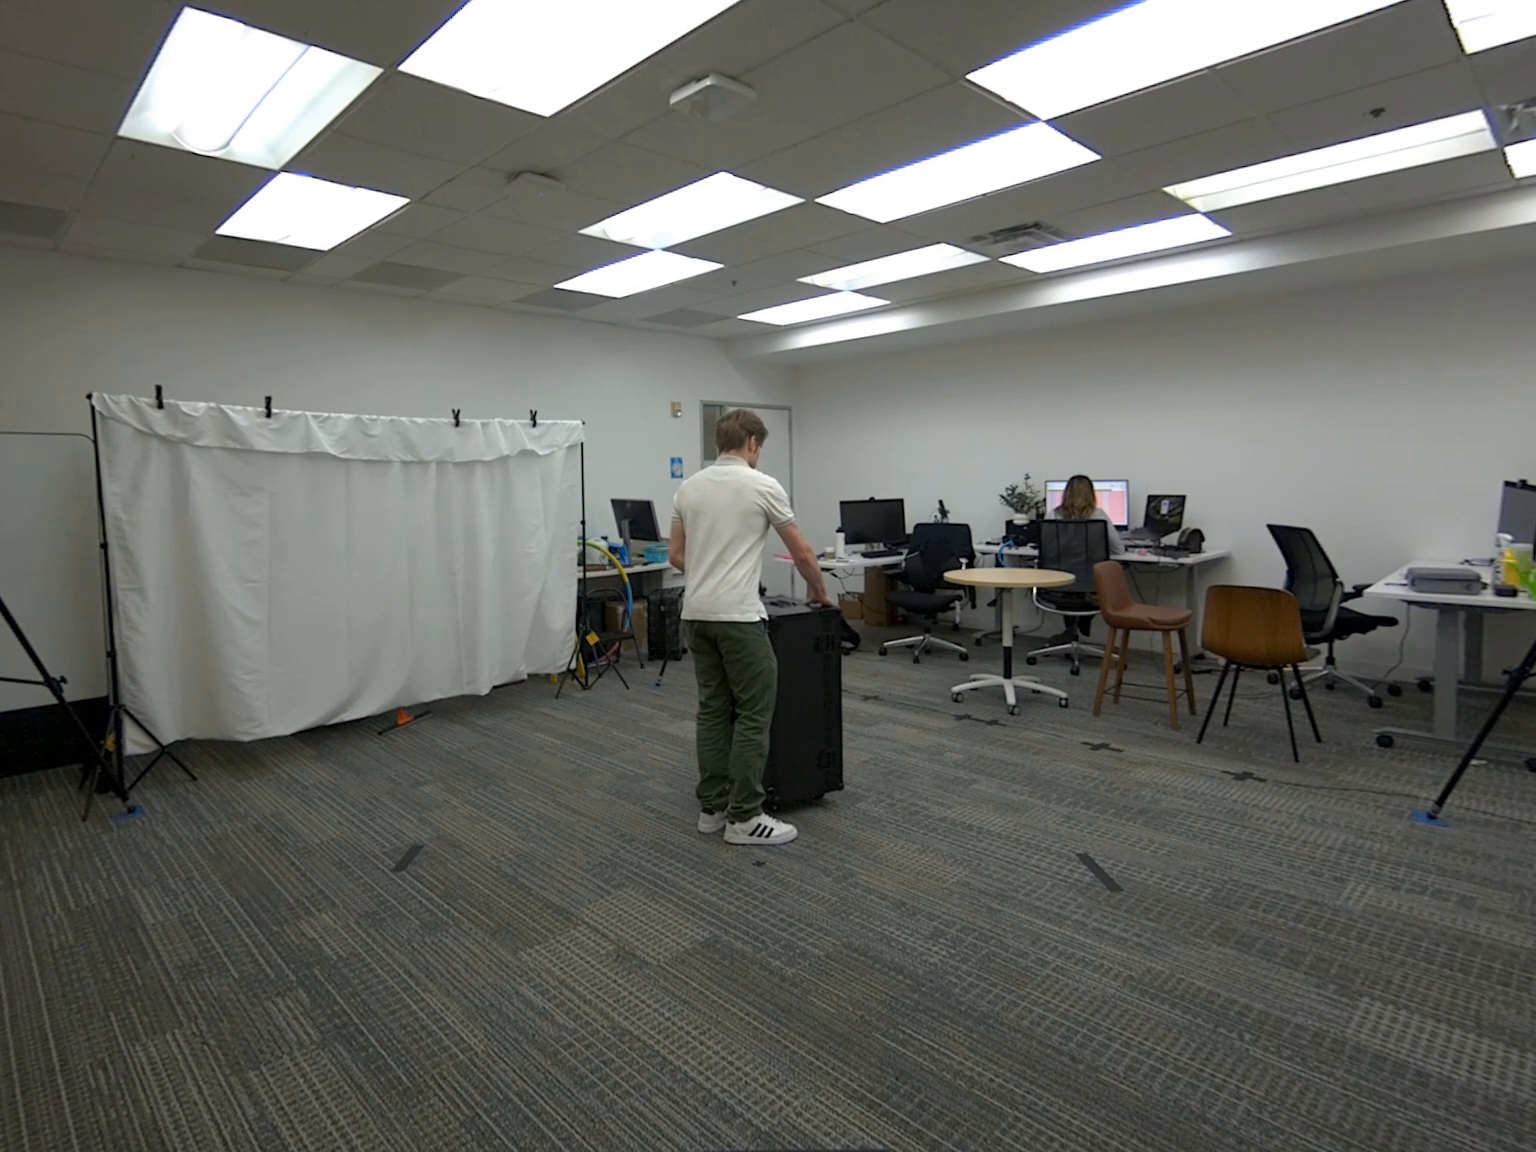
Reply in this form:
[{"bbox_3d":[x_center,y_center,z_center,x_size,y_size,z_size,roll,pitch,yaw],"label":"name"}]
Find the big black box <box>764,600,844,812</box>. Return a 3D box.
[{"bbox_3d":[0.045,0.552,3.752,0.376,0.865,0.538,-4,5,-29],"label":"big black box"}]
